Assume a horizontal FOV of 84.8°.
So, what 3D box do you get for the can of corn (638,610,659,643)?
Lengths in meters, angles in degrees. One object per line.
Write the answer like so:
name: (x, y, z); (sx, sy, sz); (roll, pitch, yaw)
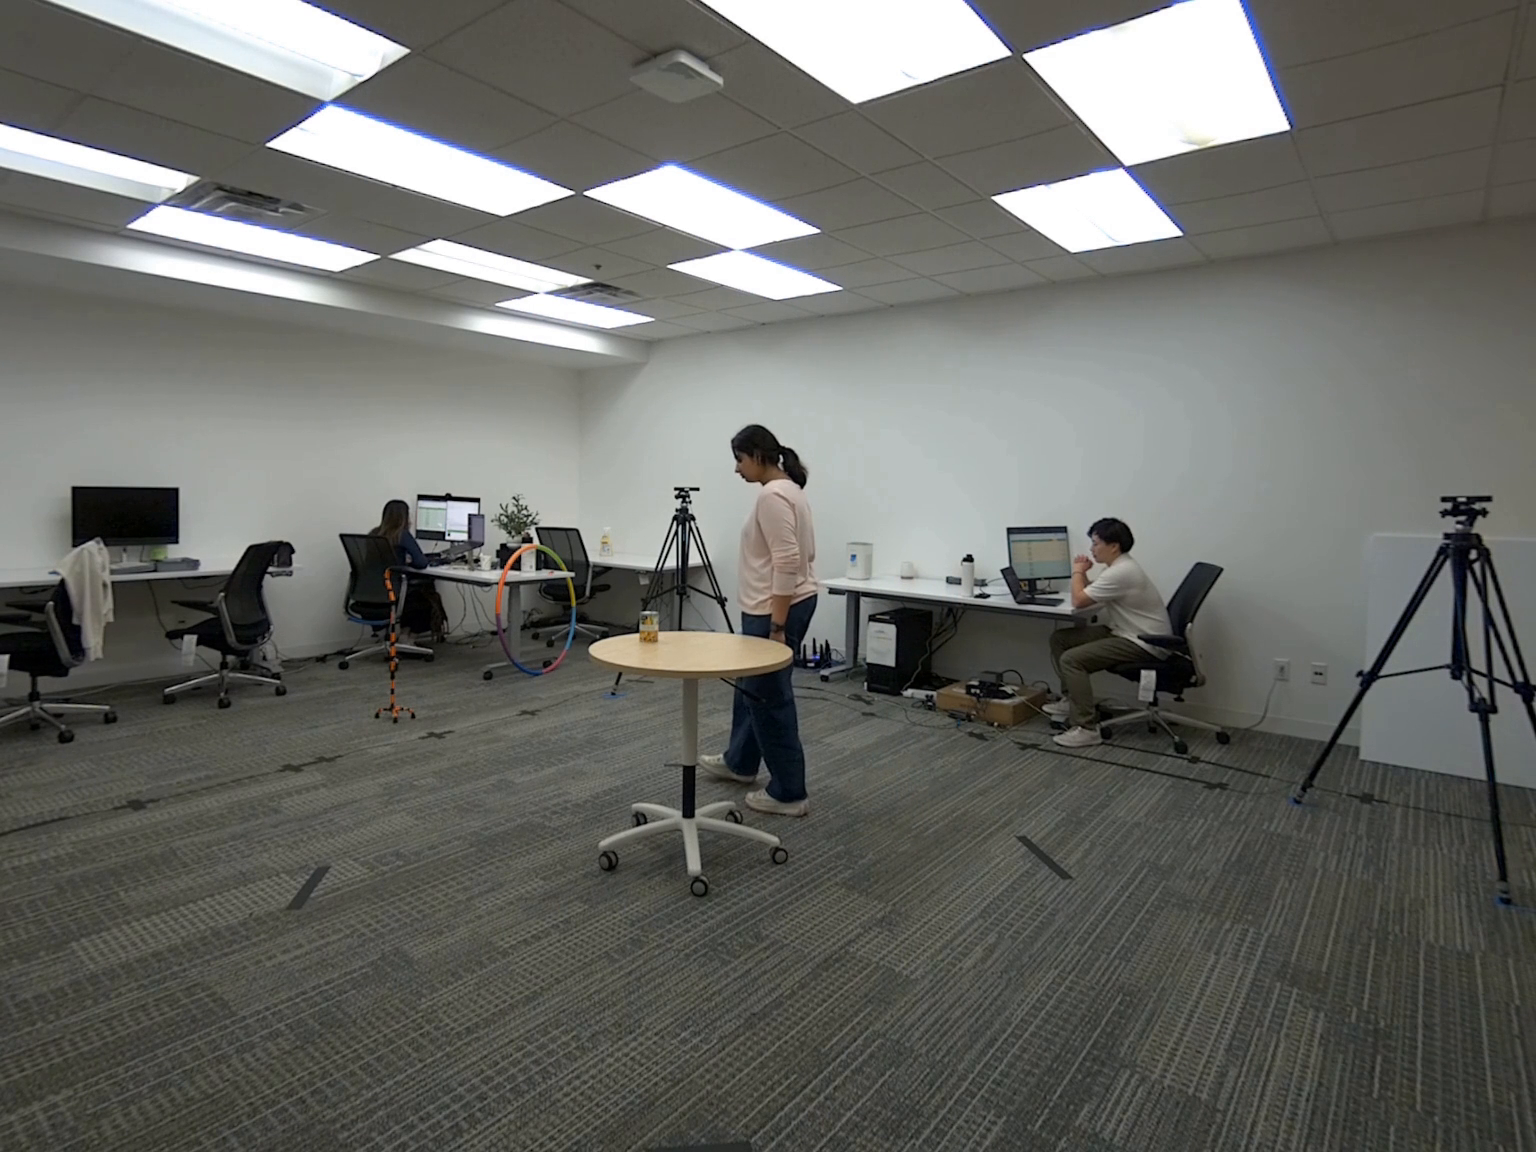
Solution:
can of corn: (-0.485, 0.197, 3.350); (0.074, 0.111, 0.074); (0, 3, -2)
